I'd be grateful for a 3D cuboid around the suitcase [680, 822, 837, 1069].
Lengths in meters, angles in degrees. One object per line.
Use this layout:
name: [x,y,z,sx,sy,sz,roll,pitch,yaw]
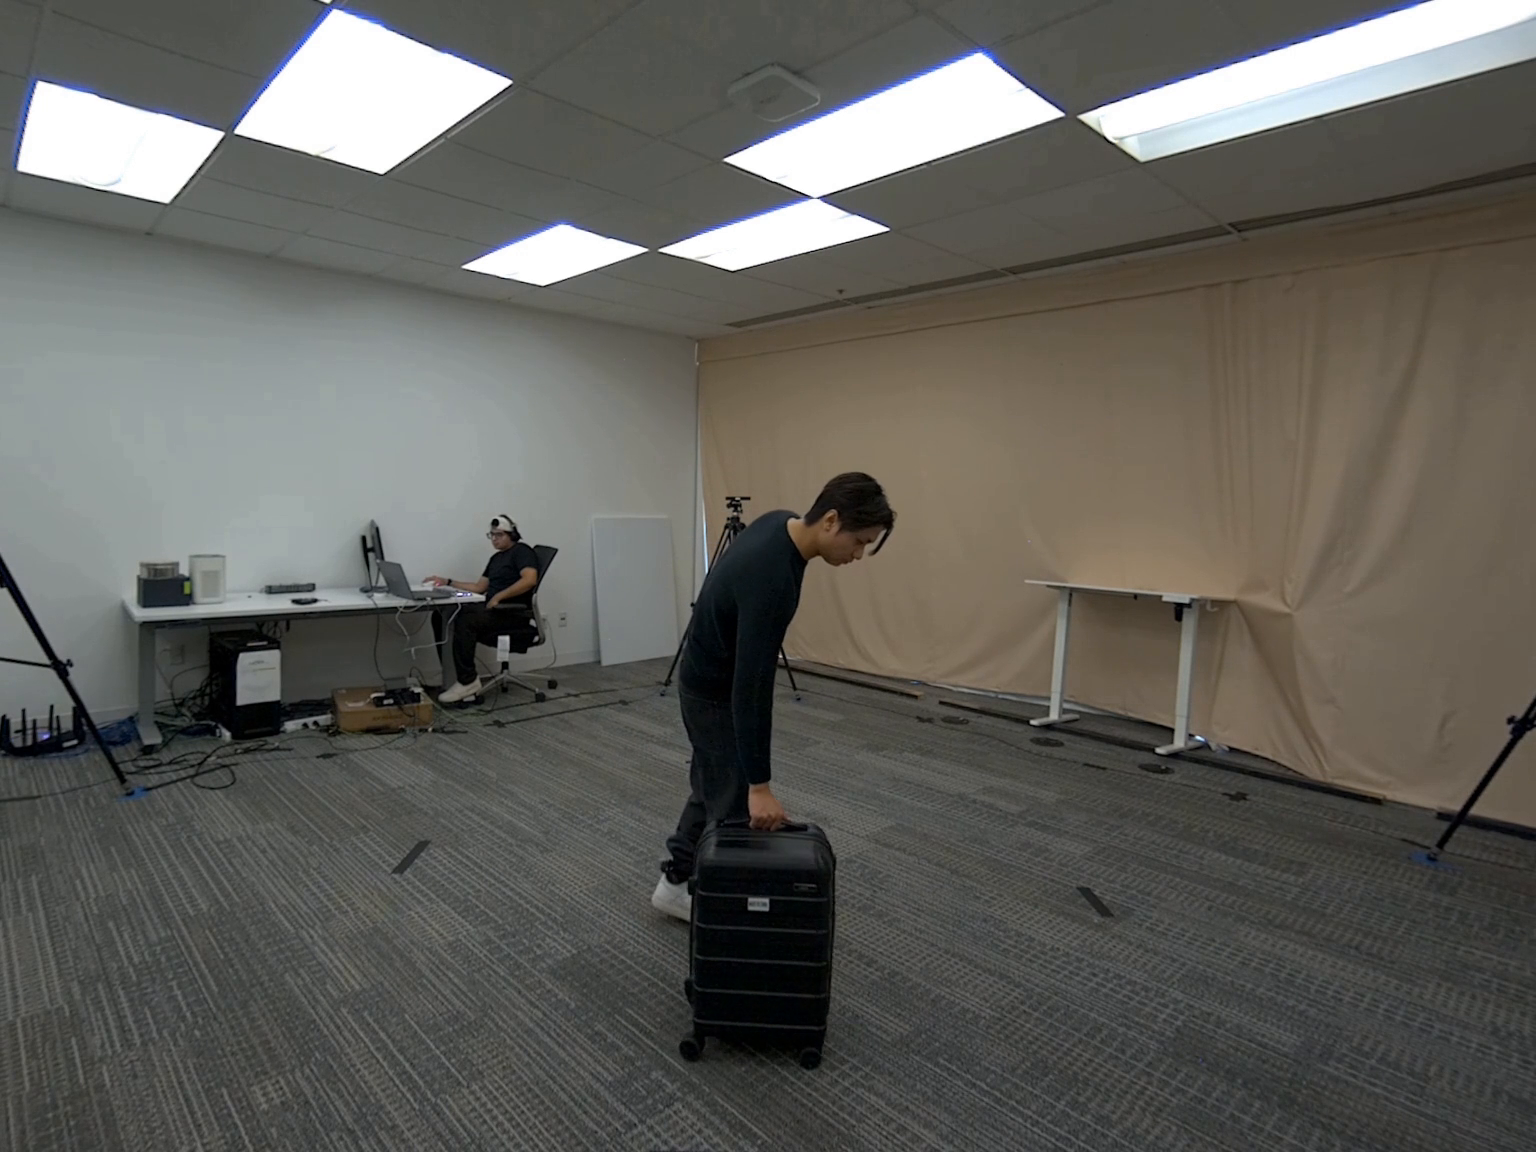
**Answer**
suitcase: [-0.020,0.917,2.175,0.377,0.548,0.248,4,4,5]
